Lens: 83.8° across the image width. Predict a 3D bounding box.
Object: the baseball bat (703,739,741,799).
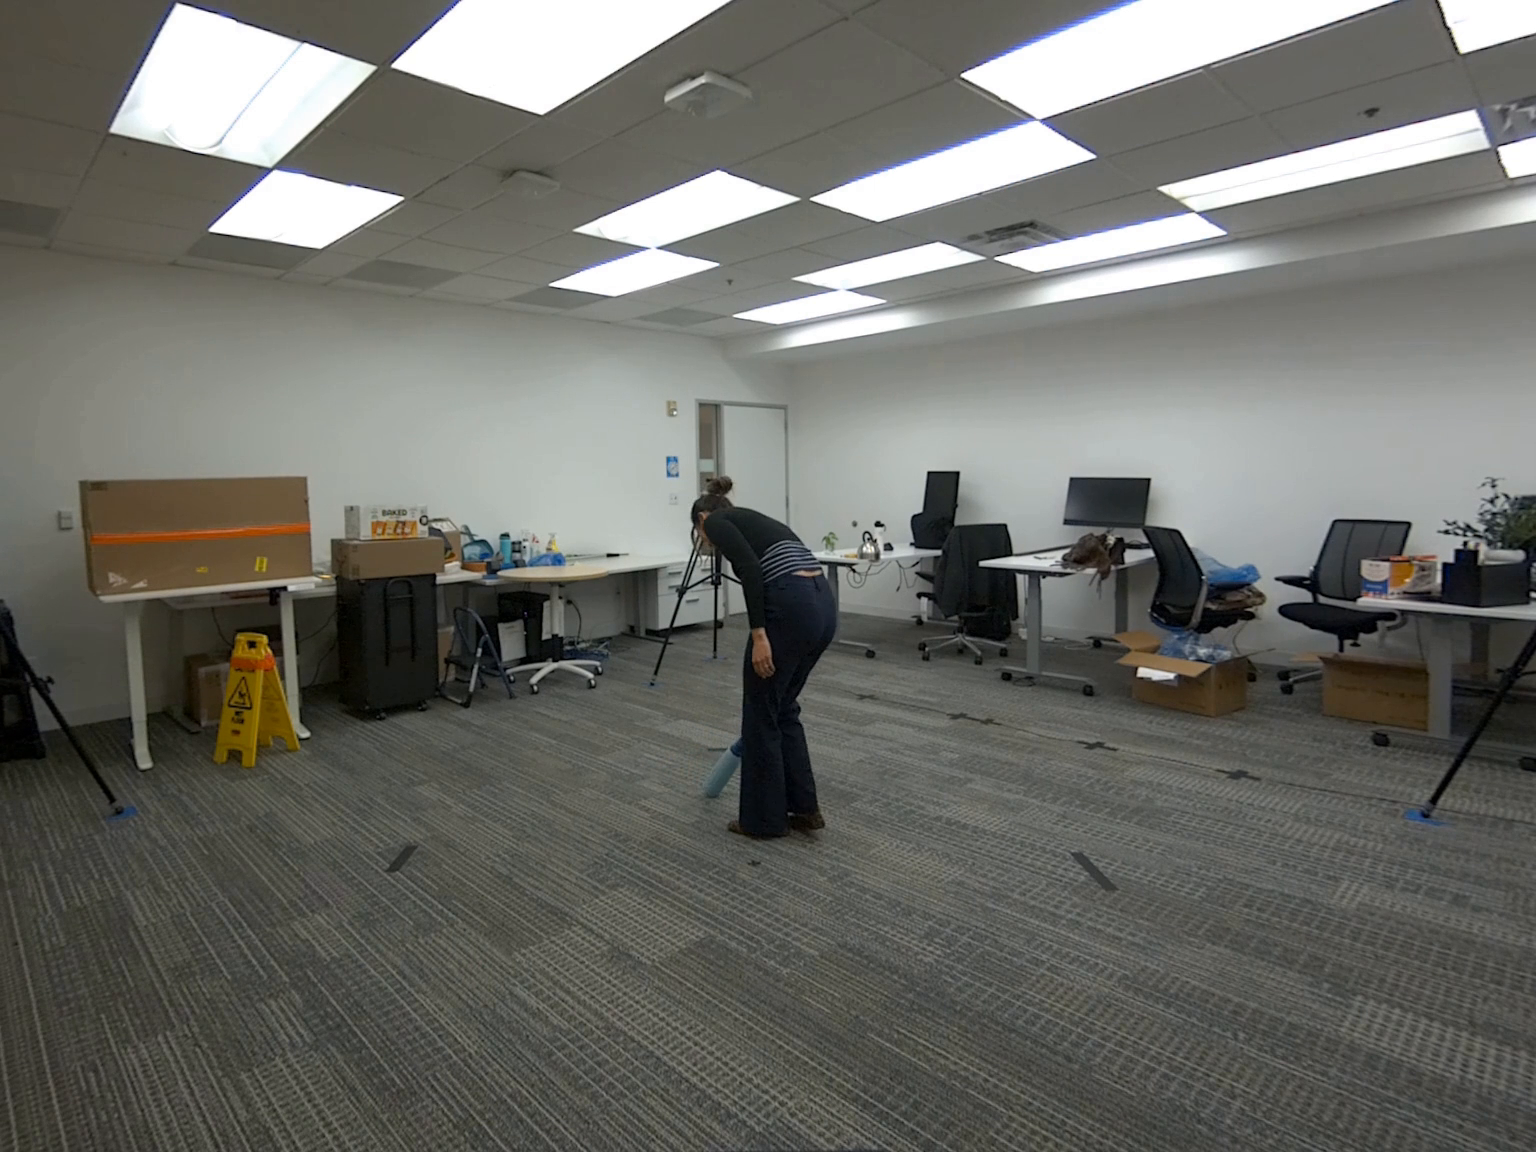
[{"bbox_3d":[-0.120,0.747,3.690,0.087,0.540,0.091,27,23,-14],"label":"baseball bat"}]
